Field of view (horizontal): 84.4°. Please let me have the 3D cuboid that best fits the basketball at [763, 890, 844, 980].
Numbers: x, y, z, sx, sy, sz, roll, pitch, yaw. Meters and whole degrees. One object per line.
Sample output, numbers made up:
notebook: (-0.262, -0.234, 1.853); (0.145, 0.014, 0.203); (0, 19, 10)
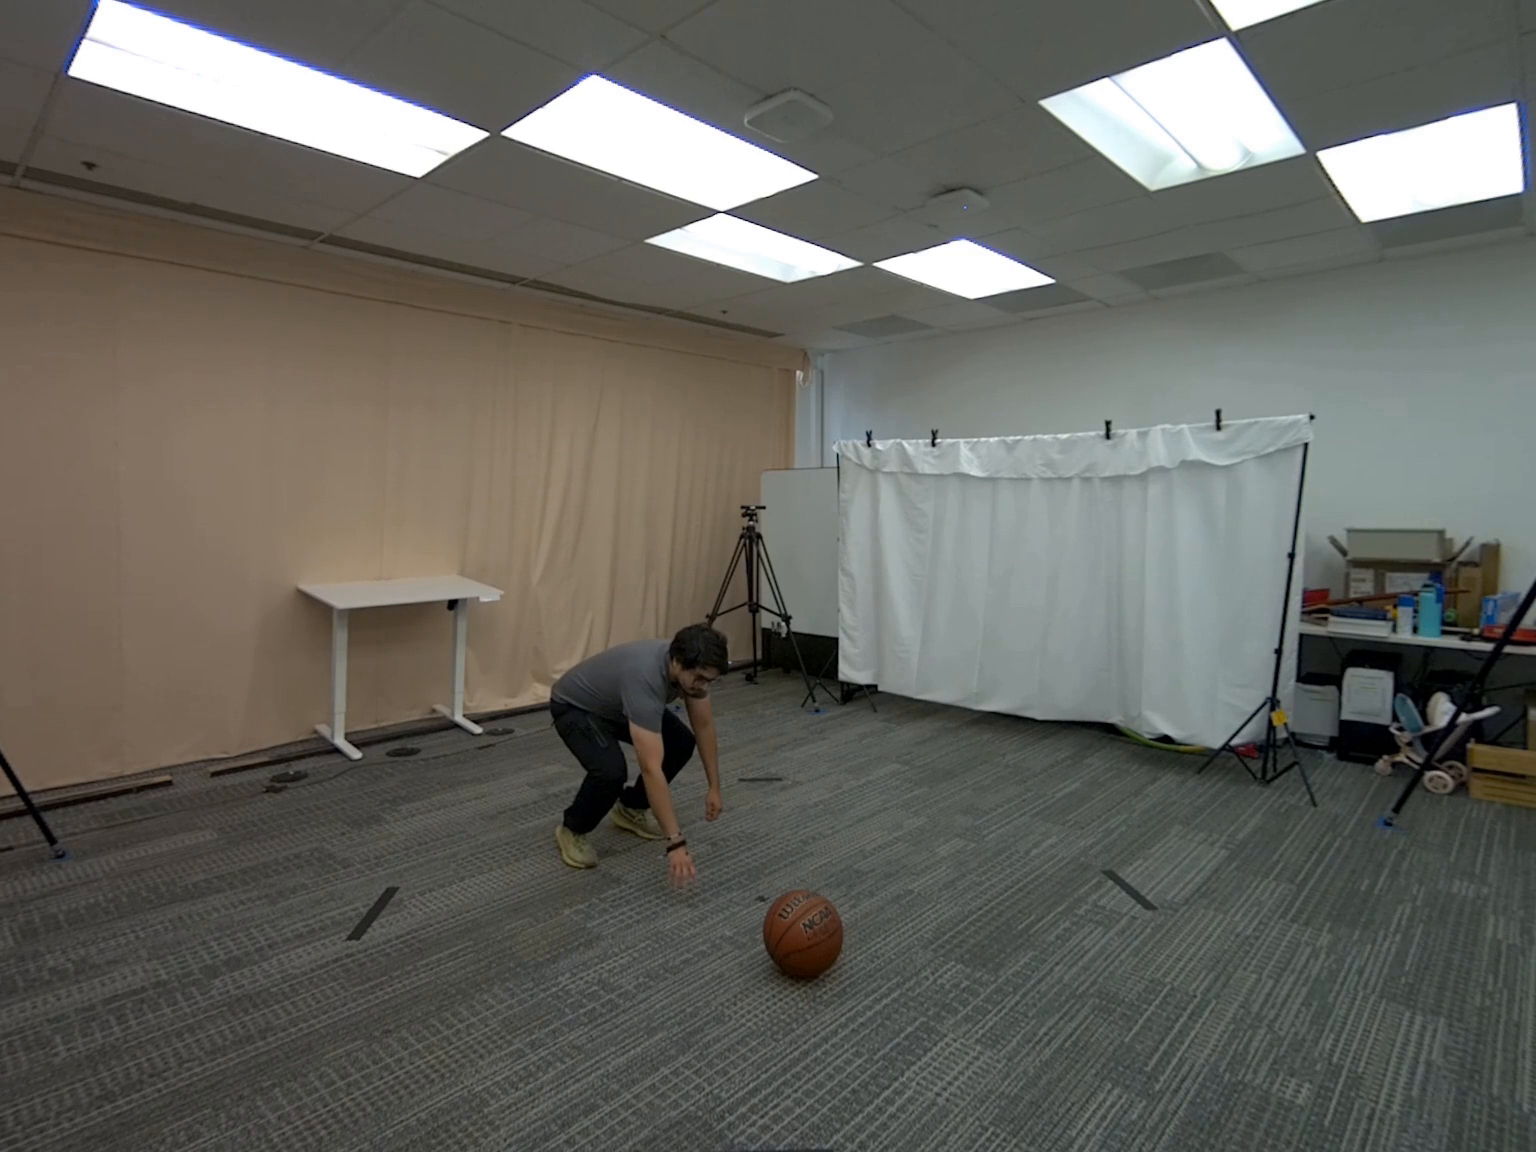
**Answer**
basketball: (0.109, 1.064, 2.507); (0.236, 0.235, 0.237); (0, 4, -2)
